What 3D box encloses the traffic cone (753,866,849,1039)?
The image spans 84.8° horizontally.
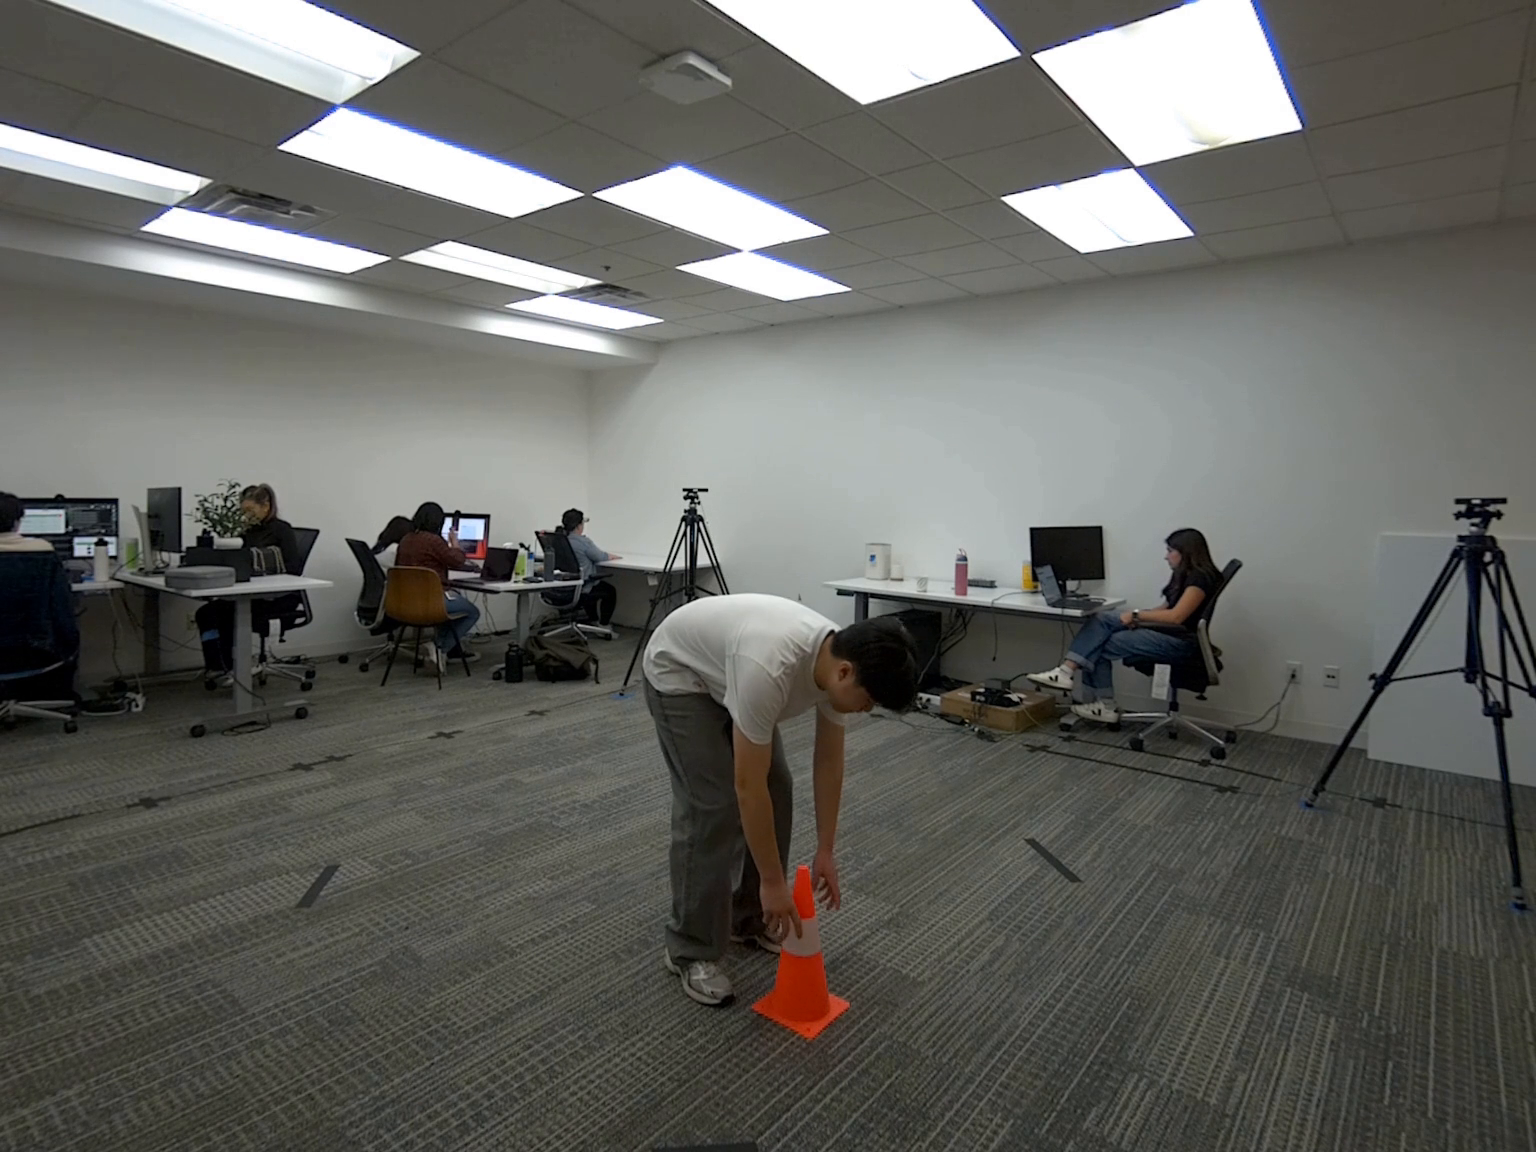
[{"bbox_3d":[0.092,0.964,2.291,0.212,0.382,0.197,4,4,41],"label":"traffic cone"}]
